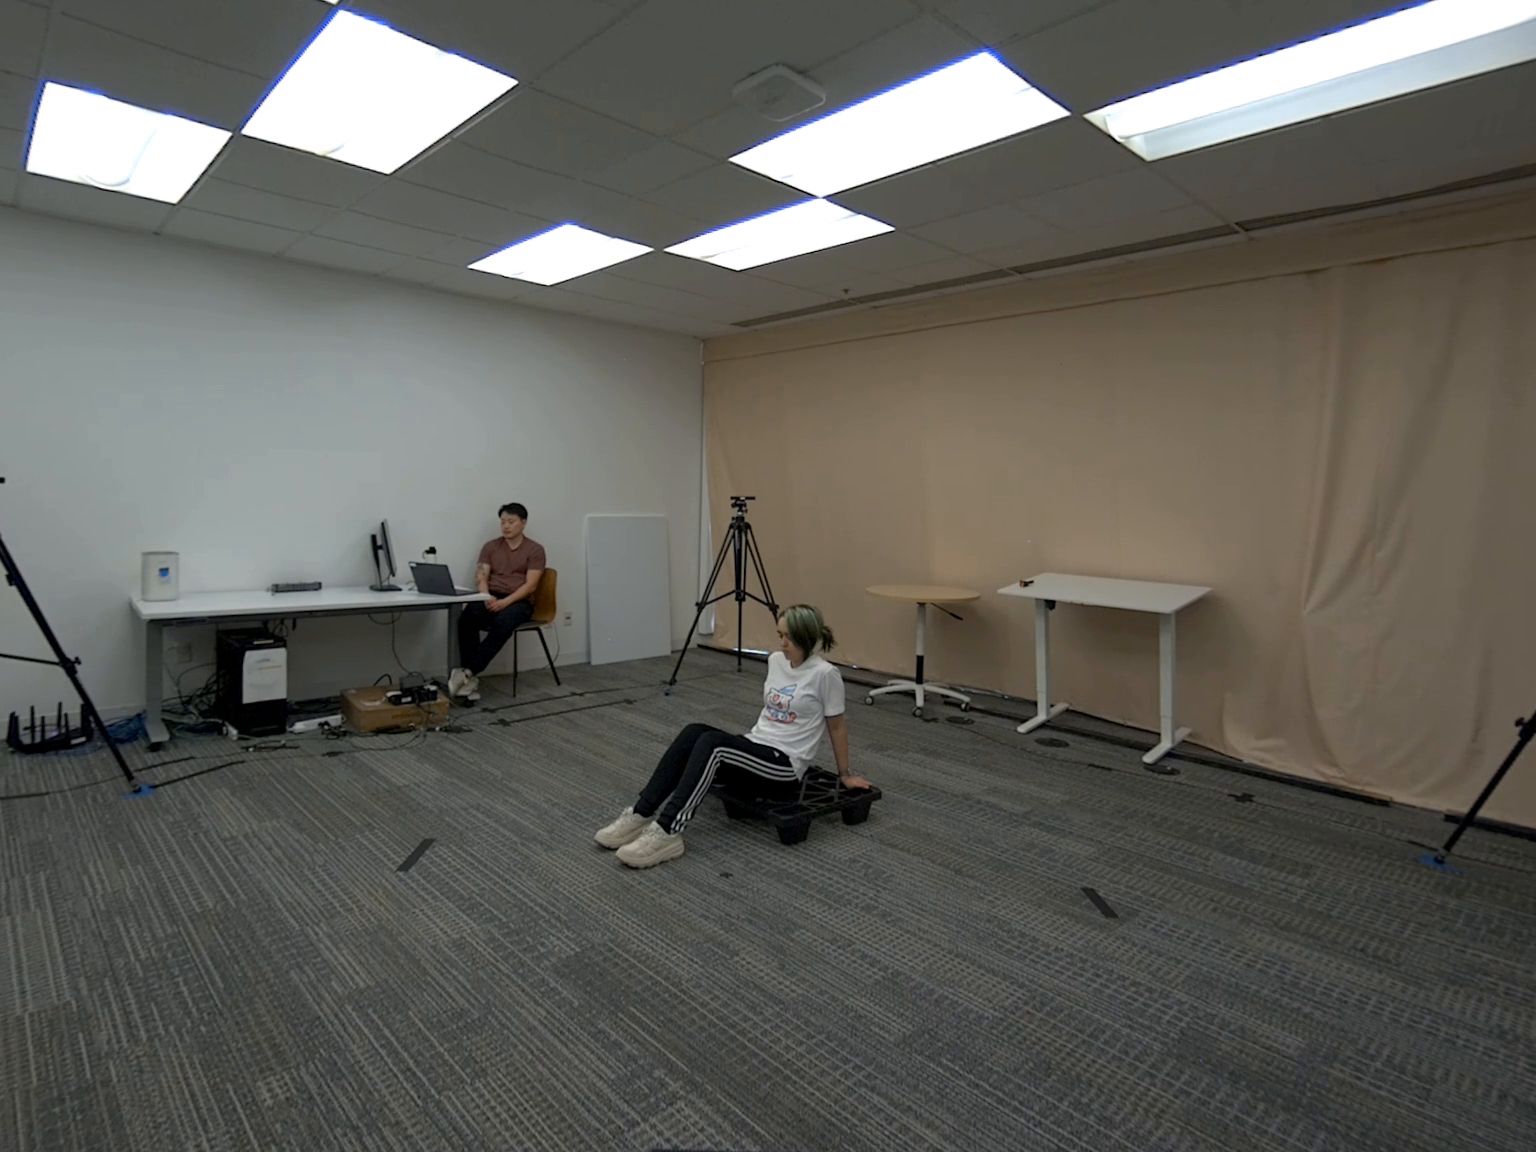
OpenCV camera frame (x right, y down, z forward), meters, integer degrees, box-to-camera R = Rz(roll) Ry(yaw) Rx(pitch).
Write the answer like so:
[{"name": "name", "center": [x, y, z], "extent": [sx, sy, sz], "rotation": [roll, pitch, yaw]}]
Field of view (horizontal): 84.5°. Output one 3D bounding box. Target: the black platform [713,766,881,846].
[{"name": "black platform", "center": [0.012, 0.980, 3.804], "extent": [0.592, 0.143, 0.826], "rotation": [-3, 6, -39]}]
